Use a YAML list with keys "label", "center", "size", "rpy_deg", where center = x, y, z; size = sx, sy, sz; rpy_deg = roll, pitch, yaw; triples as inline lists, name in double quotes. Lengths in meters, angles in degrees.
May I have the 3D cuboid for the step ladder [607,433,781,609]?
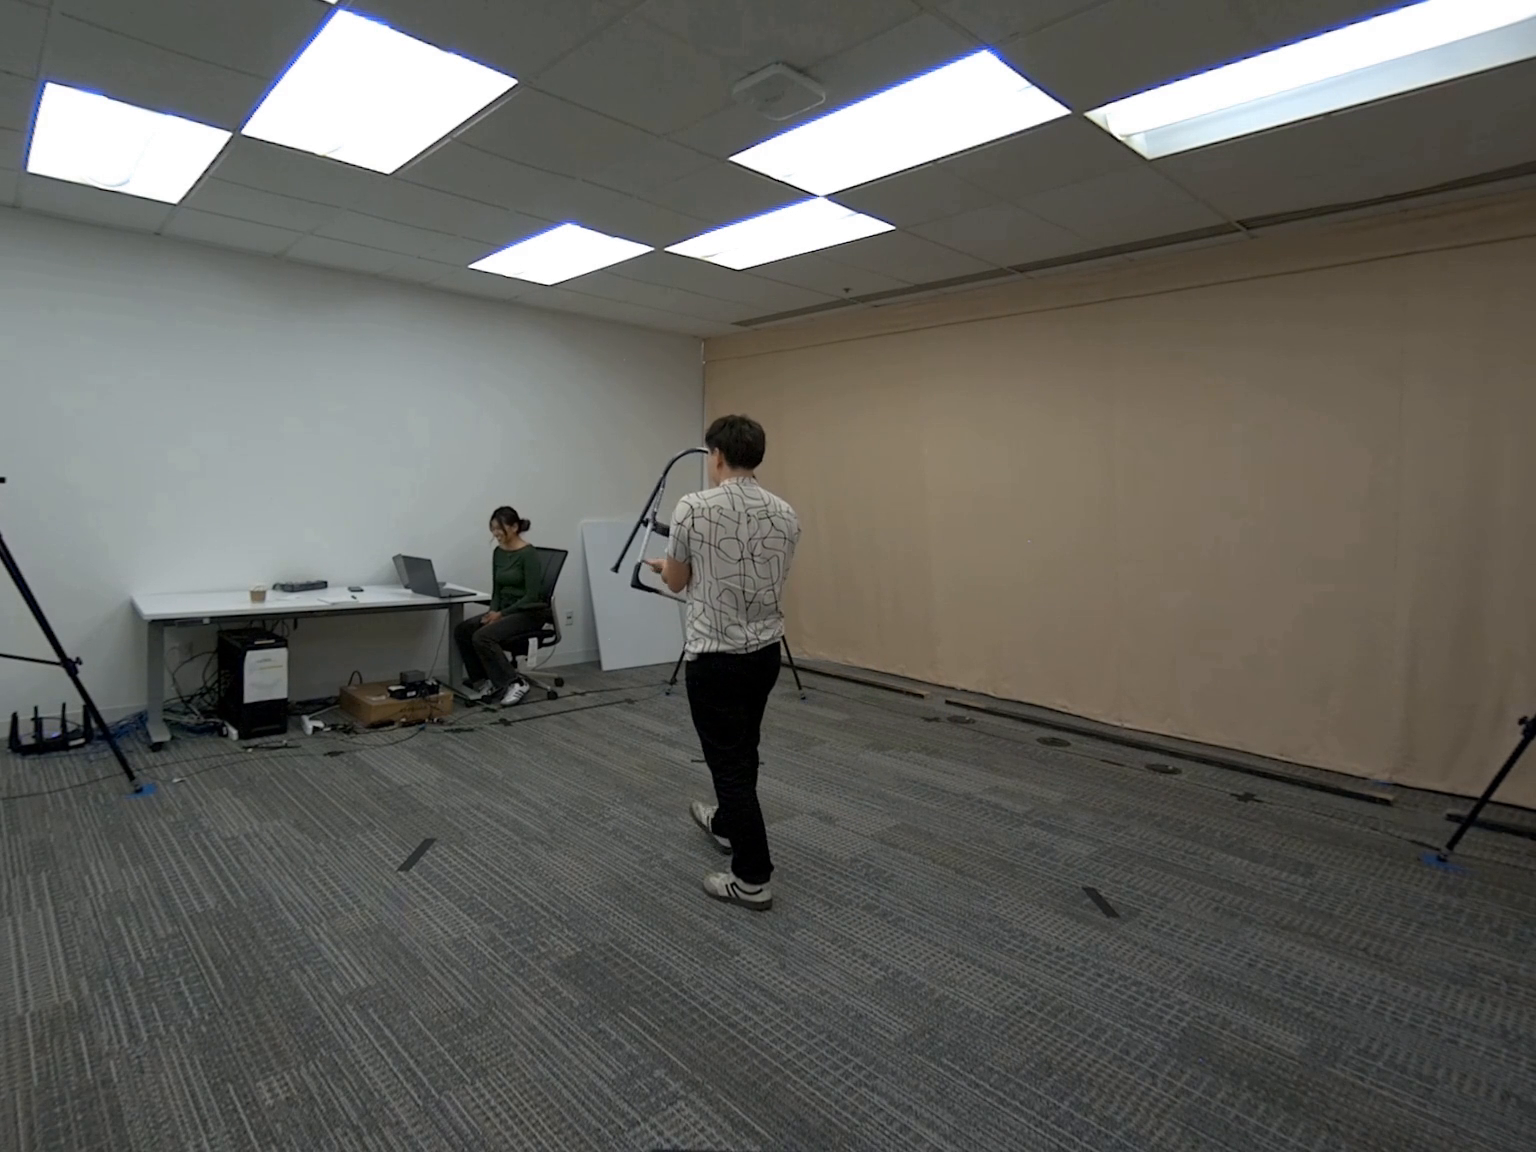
- label: "step ladder"
  center: [-0.310, -0.207, 3.427]
  size: [0.421, 0.605, 0.357]
  rpy_deg: [19, 4, -24]
